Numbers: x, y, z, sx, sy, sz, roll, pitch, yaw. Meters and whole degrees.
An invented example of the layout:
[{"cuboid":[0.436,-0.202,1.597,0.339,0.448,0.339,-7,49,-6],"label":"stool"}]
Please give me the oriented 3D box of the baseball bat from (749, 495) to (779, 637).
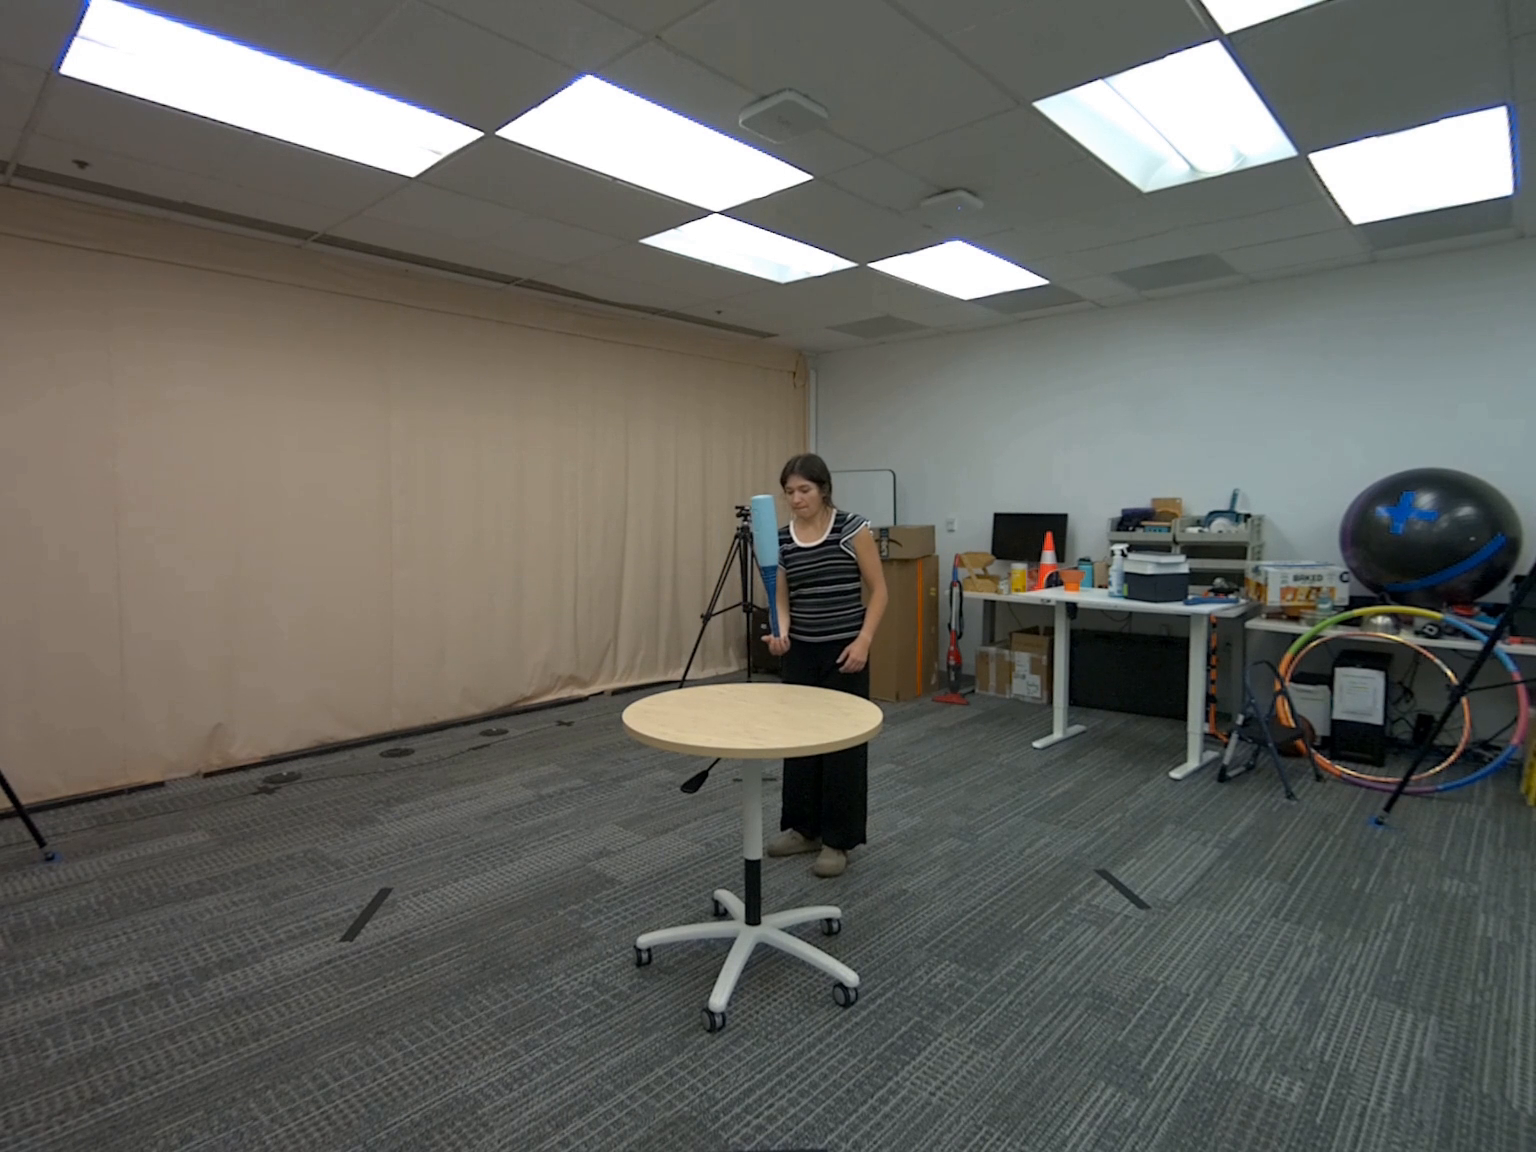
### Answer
[{"cuboid":[0.002,-0.022,3.006,0.089,0.542,0.089,-7,3,-1],"label":"baseball bat"}]
